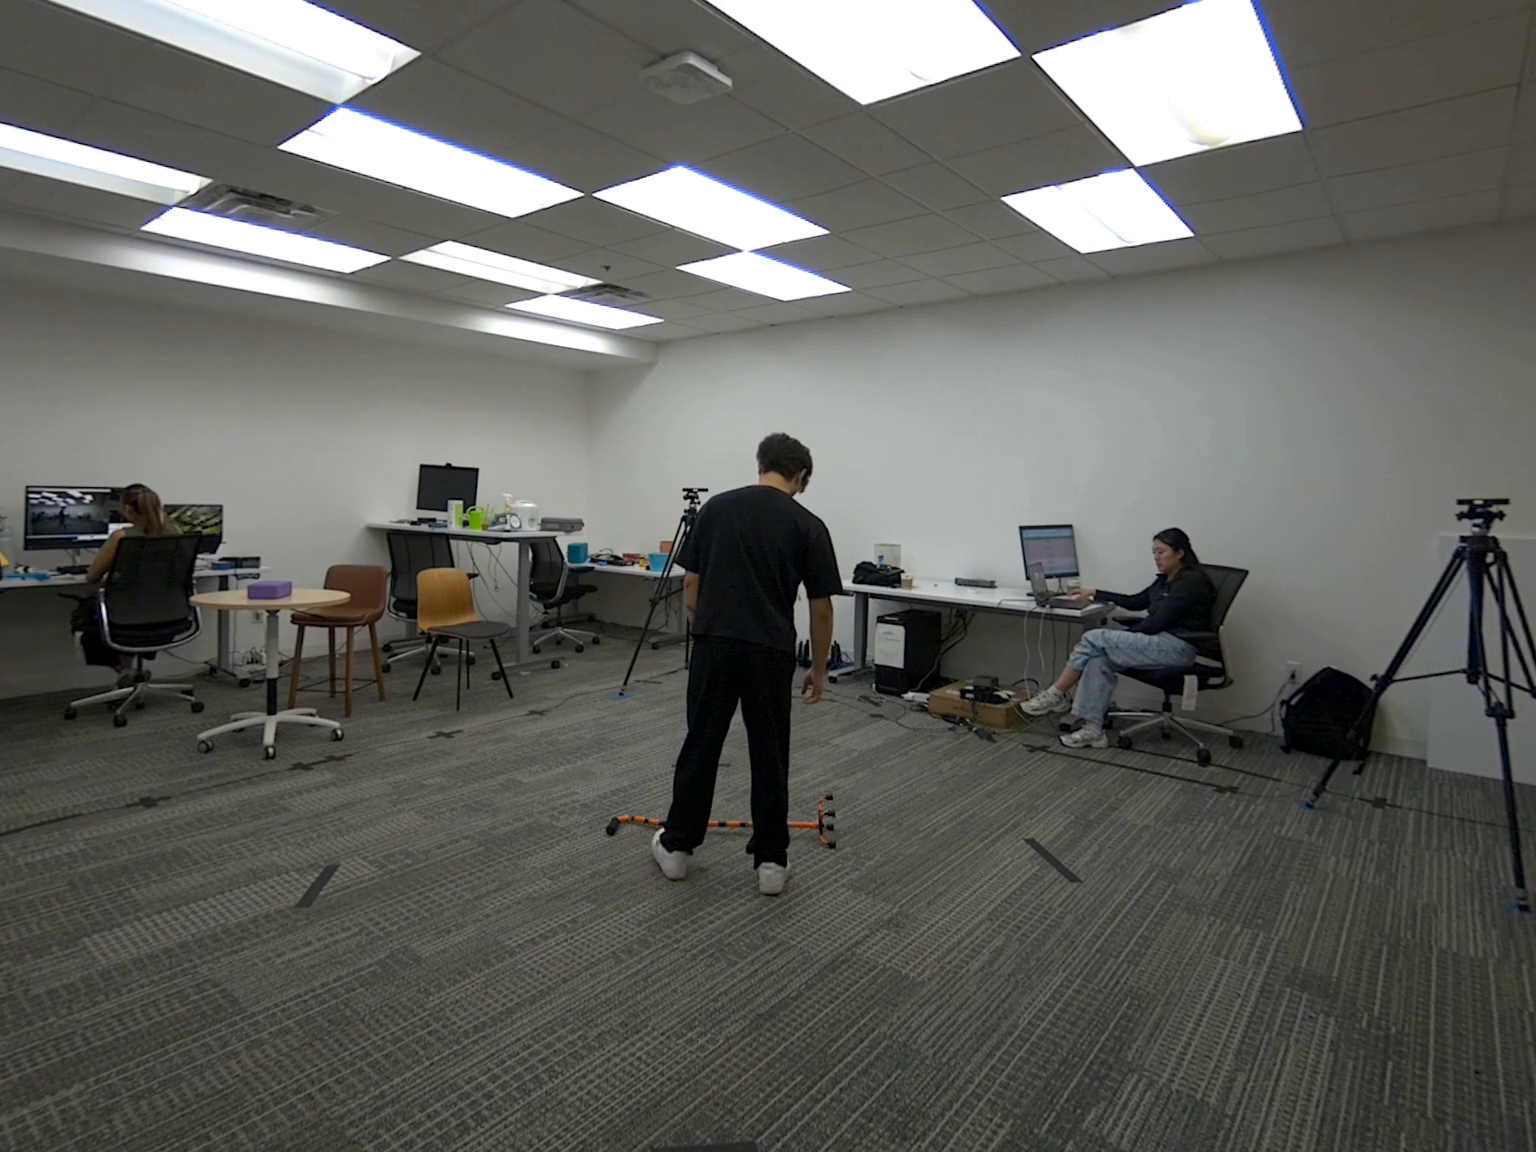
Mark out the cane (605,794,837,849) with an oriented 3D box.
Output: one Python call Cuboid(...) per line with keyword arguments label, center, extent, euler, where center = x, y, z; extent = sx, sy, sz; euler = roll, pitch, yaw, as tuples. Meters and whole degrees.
Cuboid(label="cane", center=(-0.201, 0.982, 3.449), extent=(0.912, 0.151, 0.206), euler=(-2, 4, 4))
